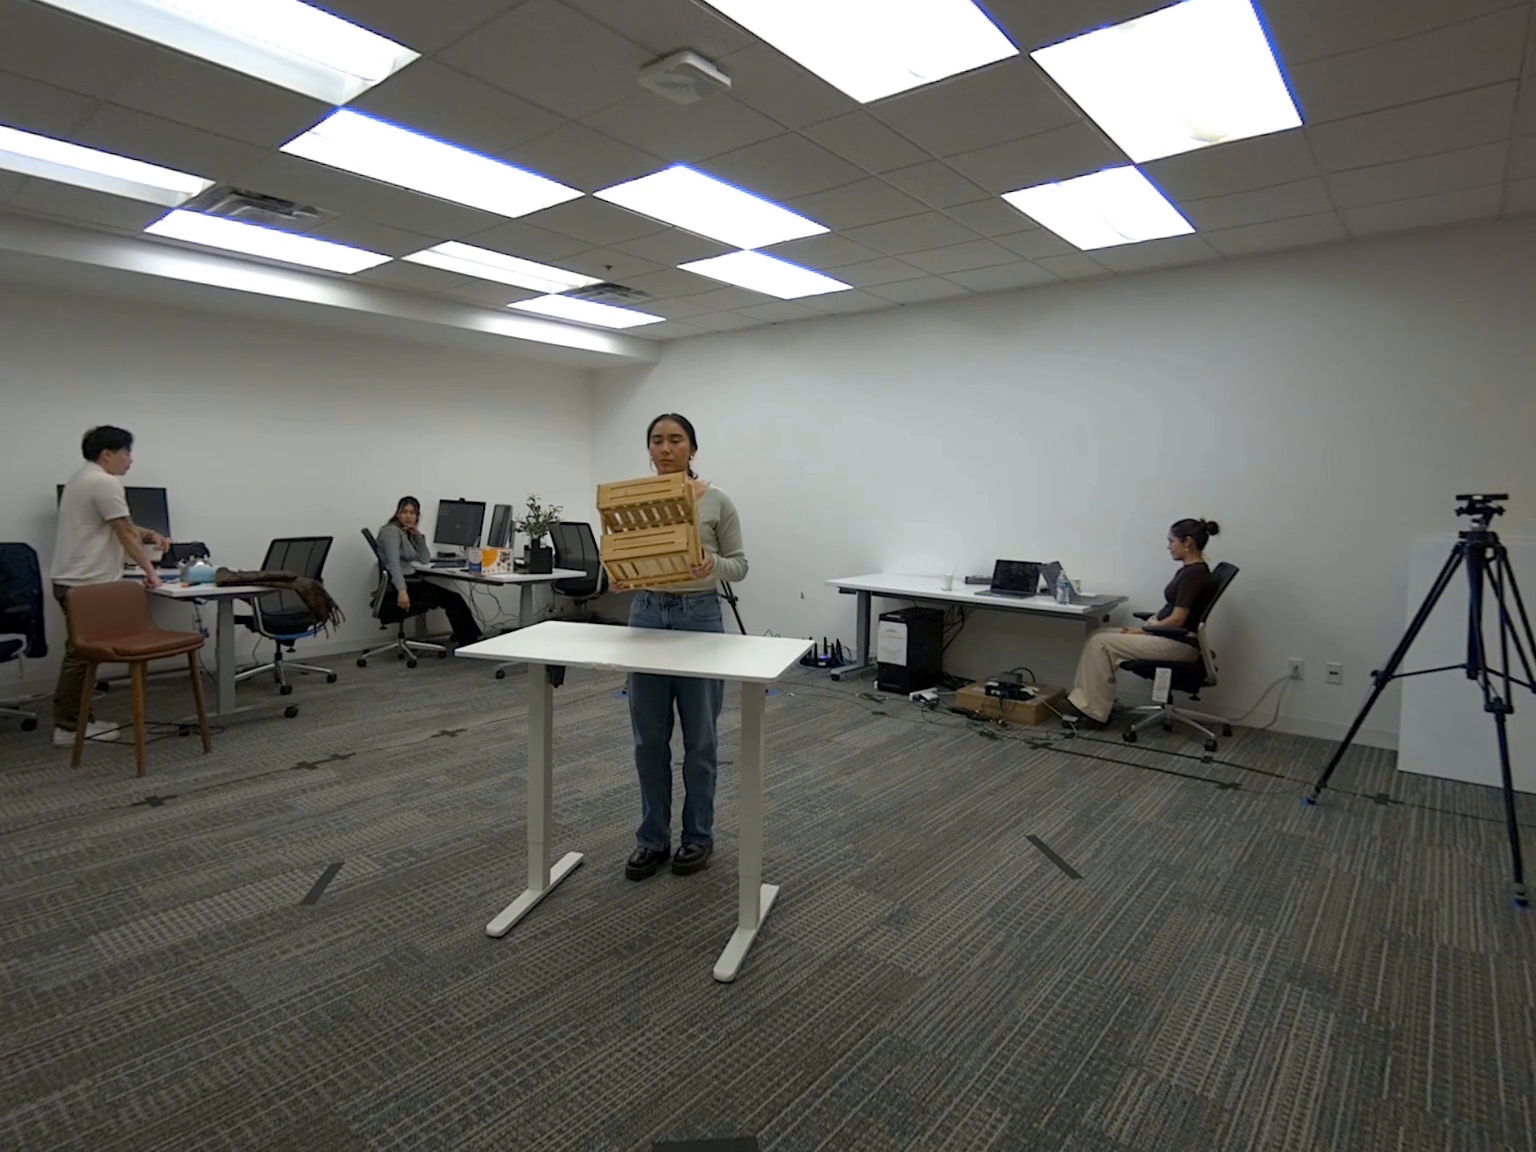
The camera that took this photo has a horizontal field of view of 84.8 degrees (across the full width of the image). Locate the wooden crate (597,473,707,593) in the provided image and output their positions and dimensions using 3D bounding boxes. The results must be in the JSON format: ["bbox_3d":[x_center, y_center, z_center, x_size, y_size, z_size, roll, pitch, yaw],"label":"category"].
[{"bbox_3d":[-0.411,-0.144,2.864,0.326,0.281,0.292,-8,-29,4],"label":"wooden crate"}]
